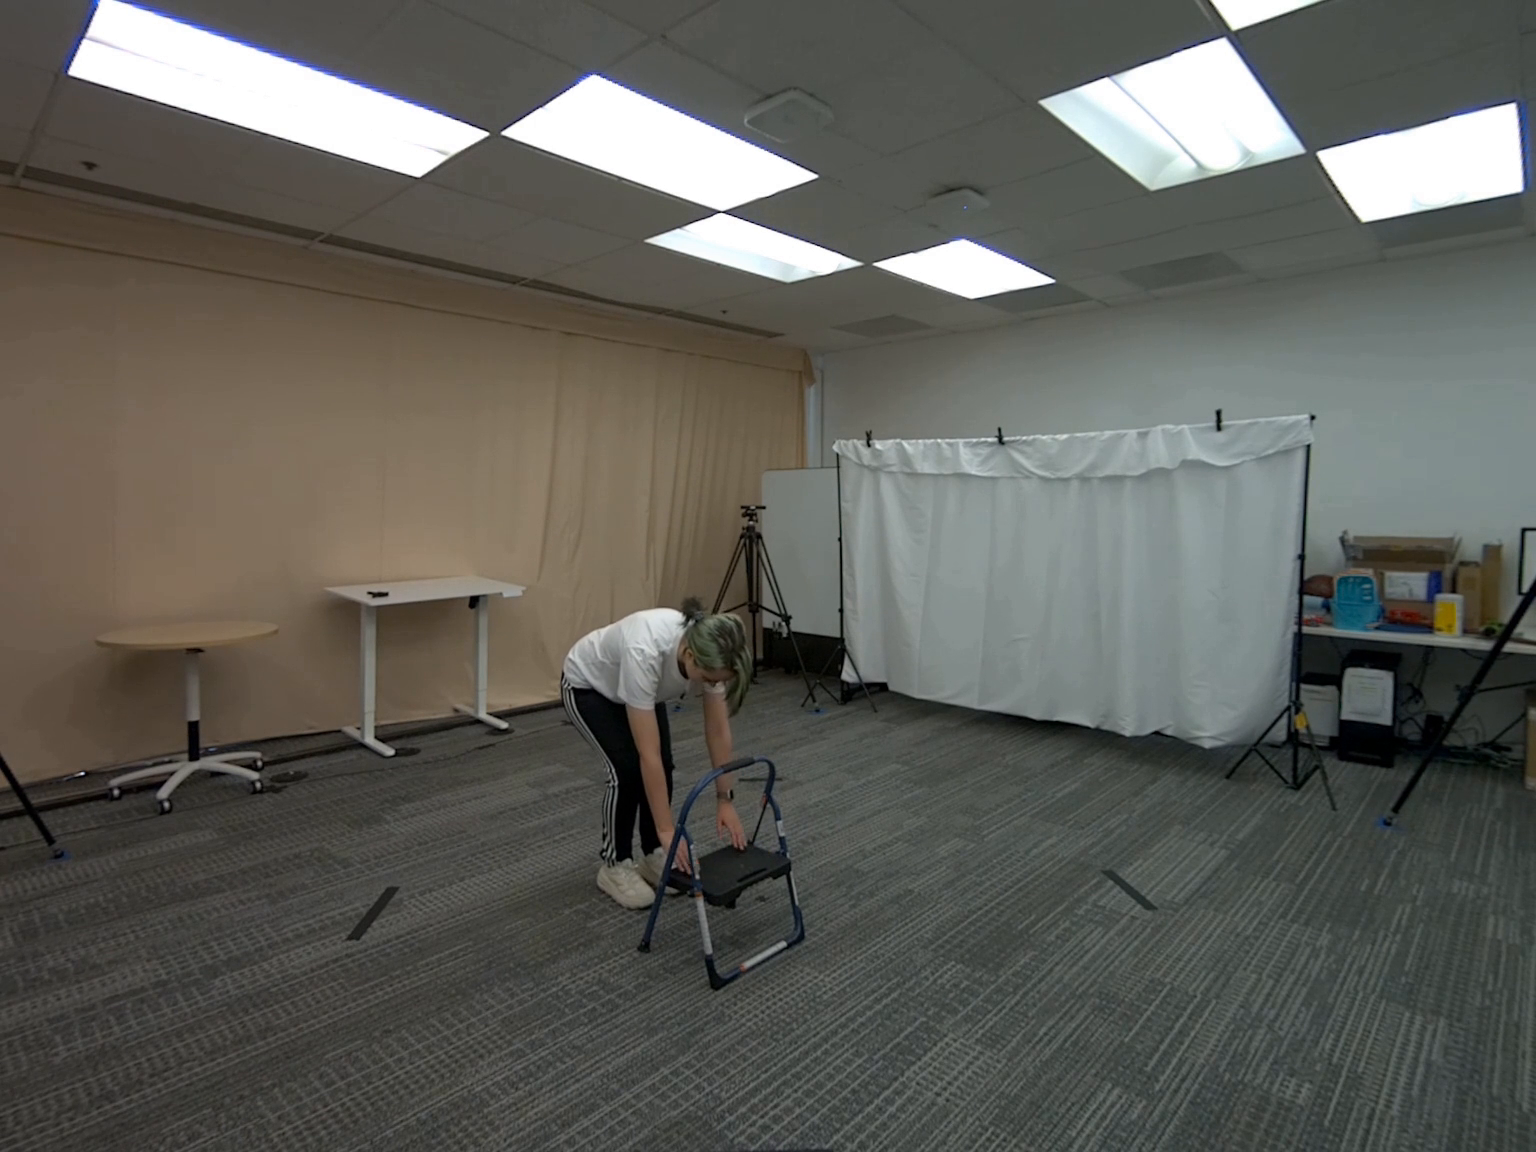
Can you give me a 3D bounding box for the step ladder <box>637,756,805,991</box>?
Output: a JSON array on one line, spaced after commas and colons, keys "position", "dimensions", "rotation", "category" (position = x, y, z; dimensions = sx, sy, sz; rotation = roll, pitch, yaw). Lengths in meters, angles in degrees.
[{"position": [-0.140, 0.869, 2.663], "dimensions": [0.361, 0.605, 0.417], "rotation": [3, 4, 42], "category": "step ladder"}]
